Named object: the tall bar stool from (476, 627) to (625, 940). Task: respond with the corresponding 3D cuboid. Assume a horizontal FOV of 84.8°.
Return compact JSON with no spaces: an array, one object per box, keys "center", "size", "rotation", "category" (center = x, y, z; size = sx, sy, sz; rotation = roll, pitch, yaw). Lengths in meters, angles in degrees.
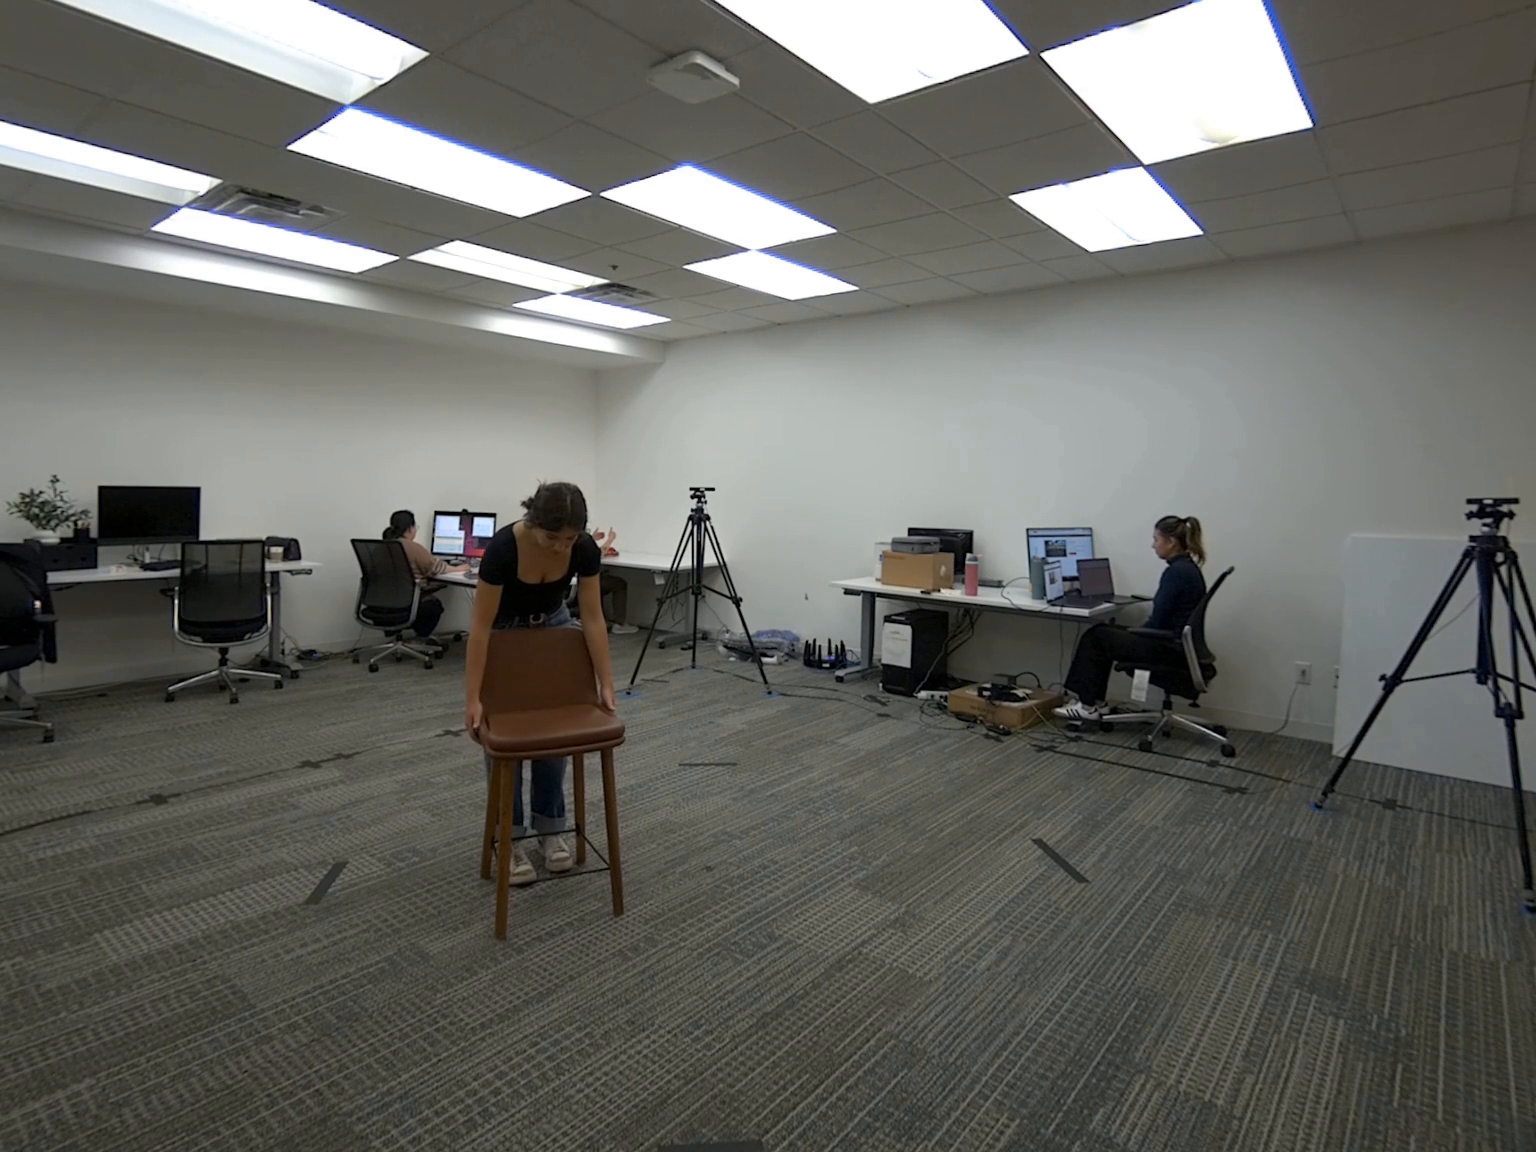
[{"center":[-0.752,0.642,2.856],"size":[0.445,0.888,0.480],"rotation":[-1,3,-26],"category":"tall bar stool"}]
